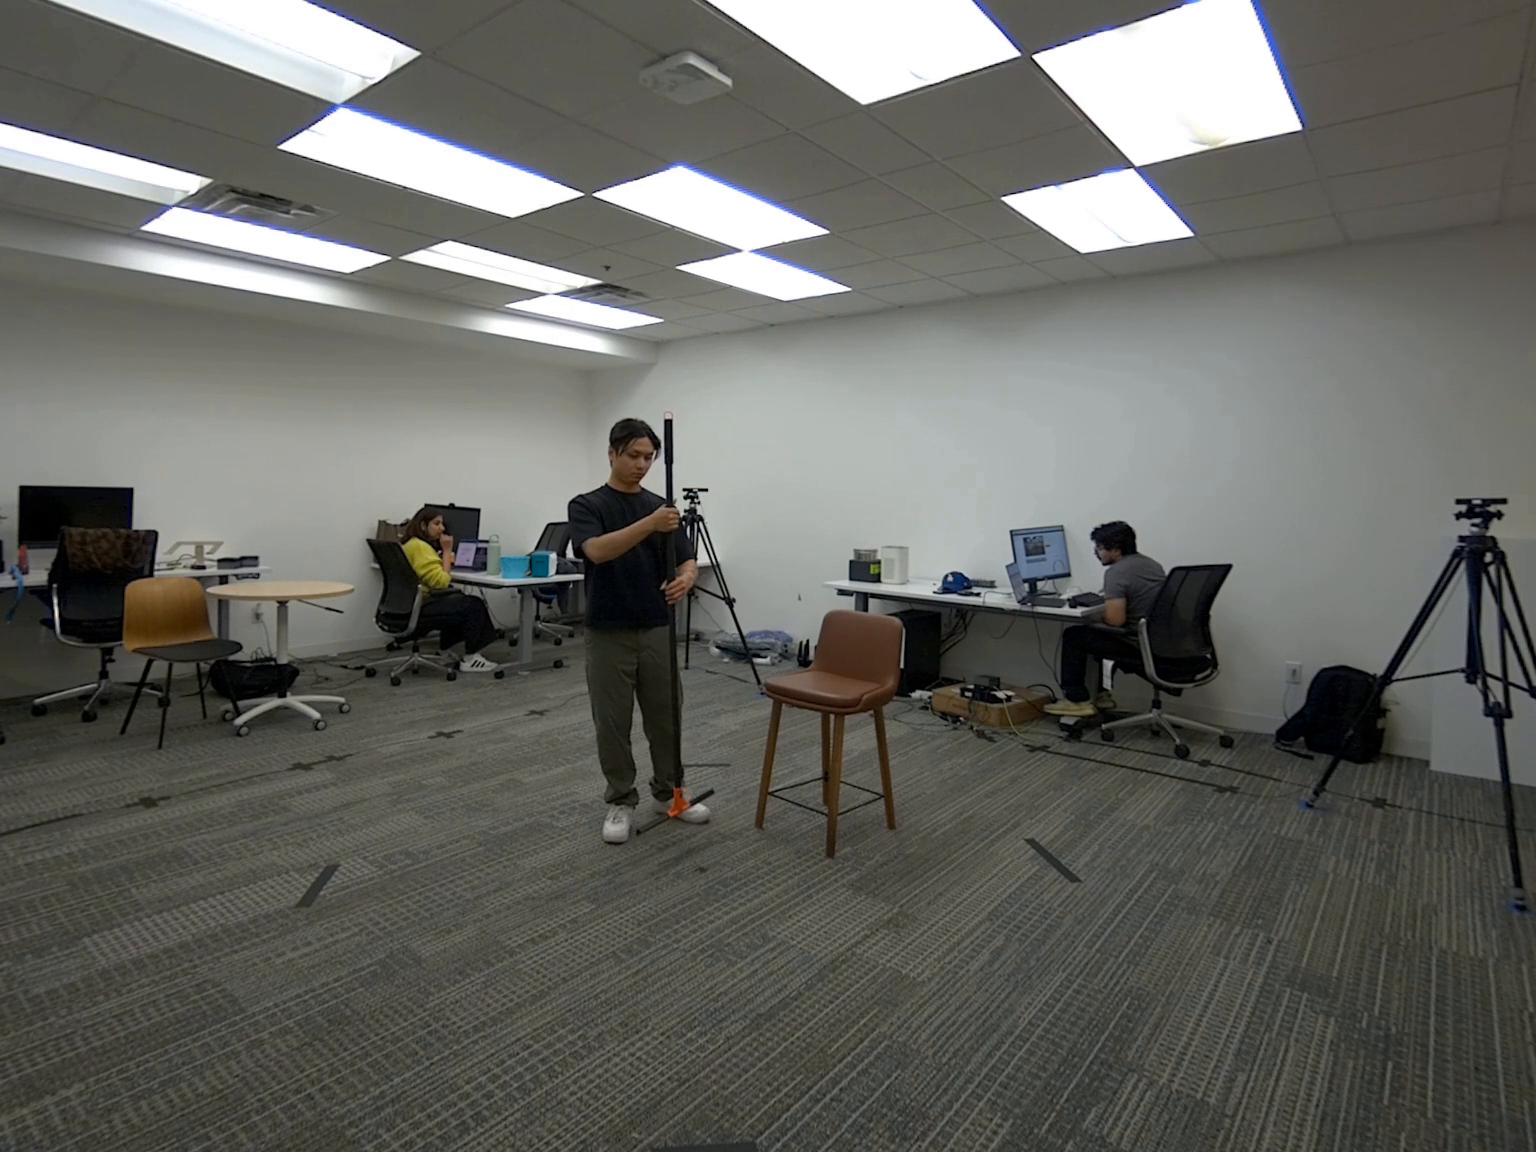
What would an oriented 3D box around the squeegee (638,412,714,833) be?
[{"bbox_3d":[-0.365,0.174,3.156,0.055,1.527,0.425,6,9,40],"label":"squeegee"}]
